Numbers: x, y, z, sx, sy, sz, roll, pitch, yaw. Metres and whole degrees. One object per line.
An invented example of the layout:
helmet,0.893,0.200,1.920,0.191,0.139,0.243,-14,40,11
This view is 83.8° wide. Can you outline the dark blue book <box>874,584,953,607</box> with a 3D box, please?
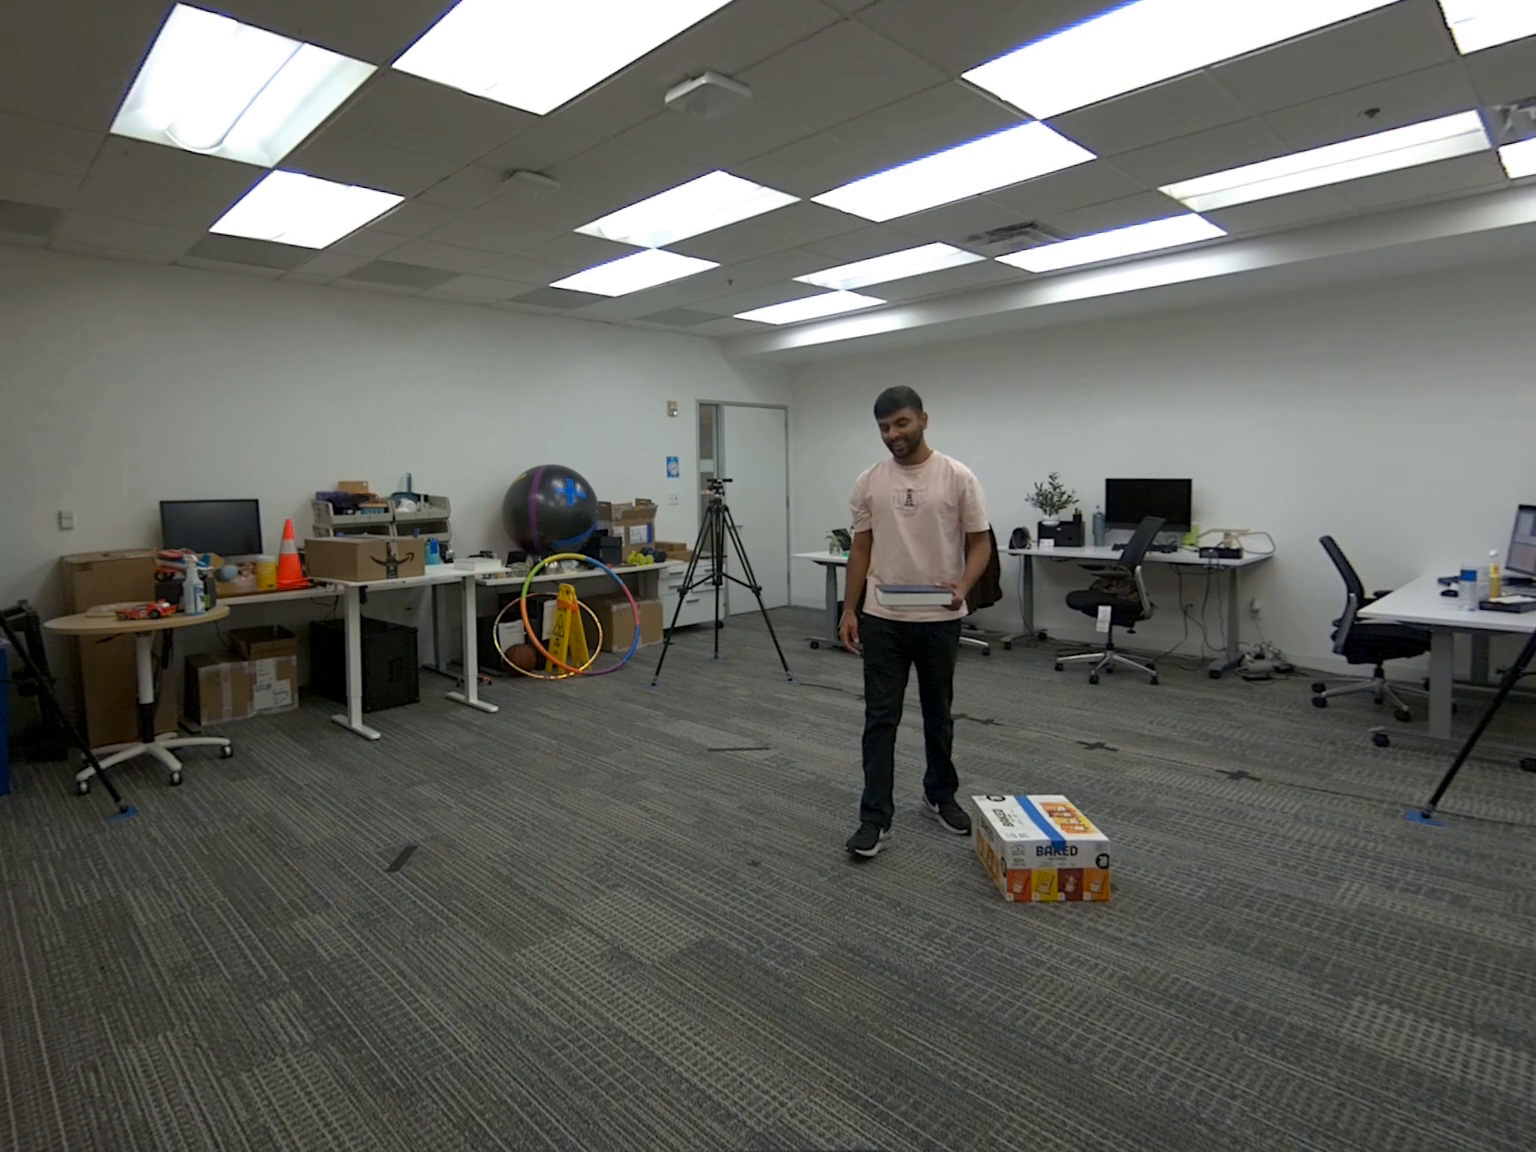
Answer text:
dark blue book,0.513,0.066,2.981,0.246,0.045,0.164,1,9,5
